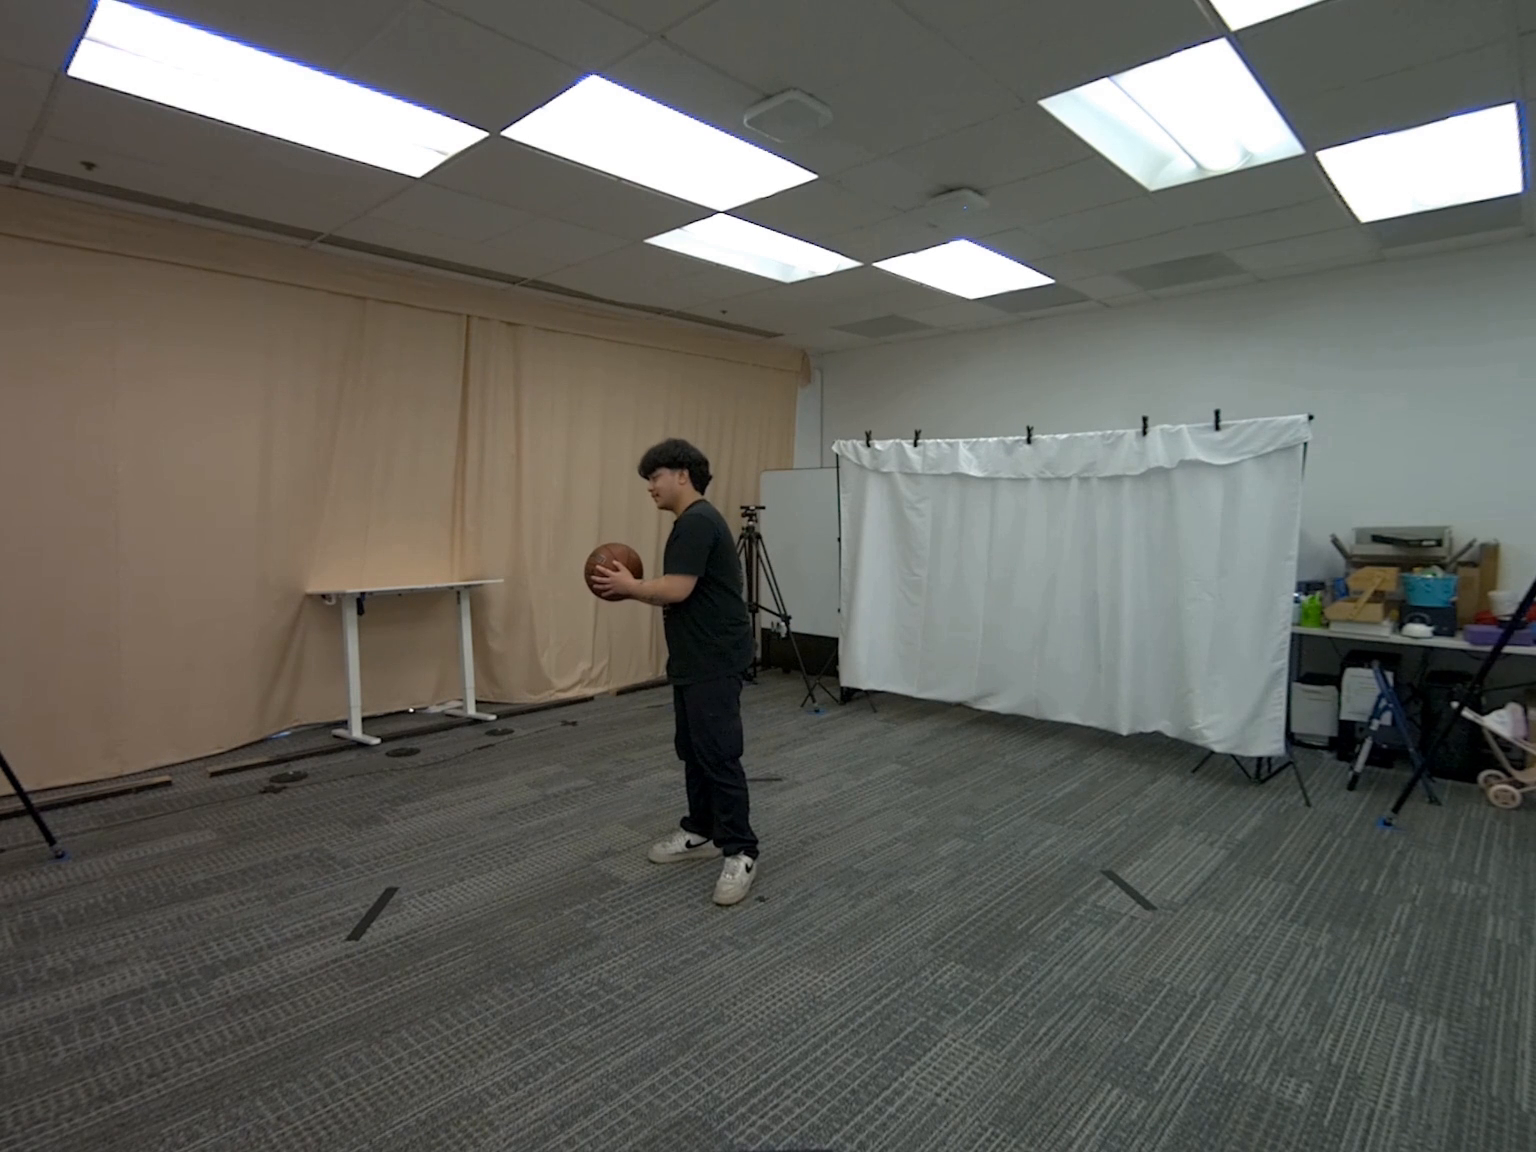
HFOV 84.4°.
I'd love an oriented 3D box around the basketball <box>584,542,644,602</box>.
[{"bbox_3d":[-0.619,-0.017,3.400,0.236,0.235,0.237,0,4,-2],"label":"basketball"}]
